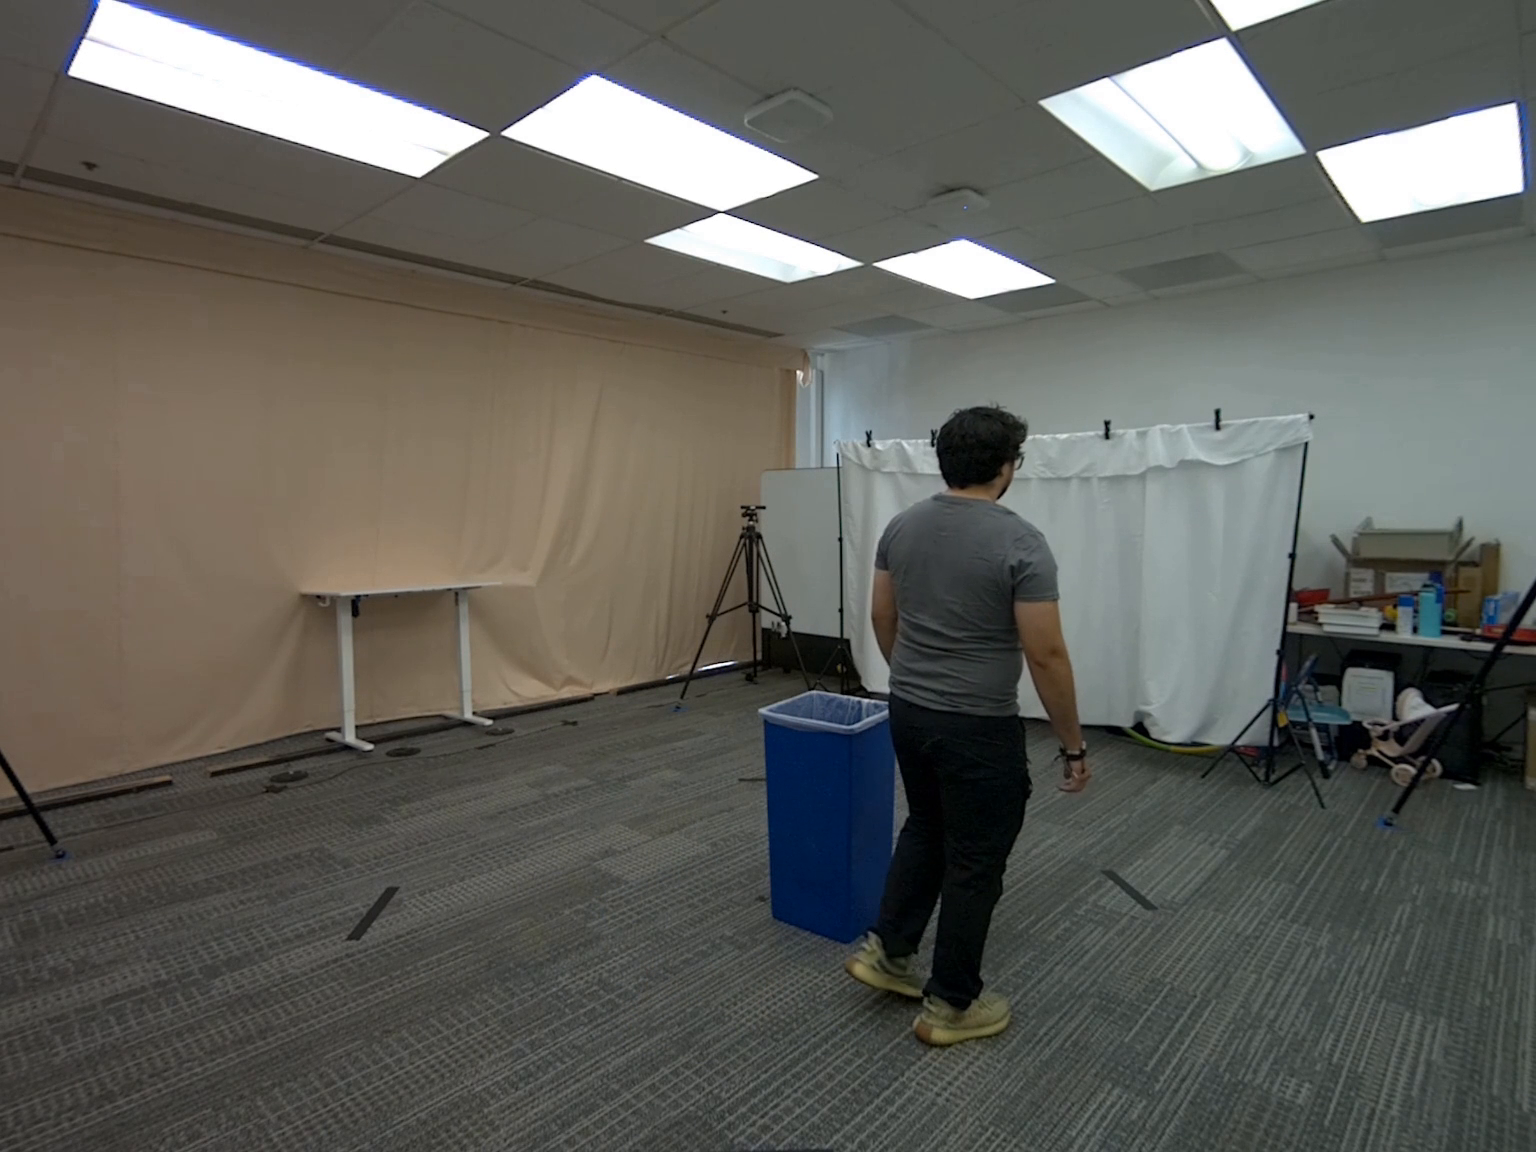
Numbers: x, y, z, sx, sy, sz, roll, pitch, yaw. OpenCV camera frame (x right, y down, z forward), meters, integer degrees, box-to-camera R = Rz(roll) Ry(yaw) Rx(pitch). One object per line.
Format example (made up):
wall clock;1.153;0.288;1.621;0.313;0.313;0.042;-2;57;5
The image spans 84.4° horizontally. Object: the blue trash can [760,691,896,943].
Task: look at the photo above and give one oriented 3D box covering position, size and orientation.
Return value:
blue trash can;0.214;0.796;2.848;0.390;0.712;0.363;2;4;36
